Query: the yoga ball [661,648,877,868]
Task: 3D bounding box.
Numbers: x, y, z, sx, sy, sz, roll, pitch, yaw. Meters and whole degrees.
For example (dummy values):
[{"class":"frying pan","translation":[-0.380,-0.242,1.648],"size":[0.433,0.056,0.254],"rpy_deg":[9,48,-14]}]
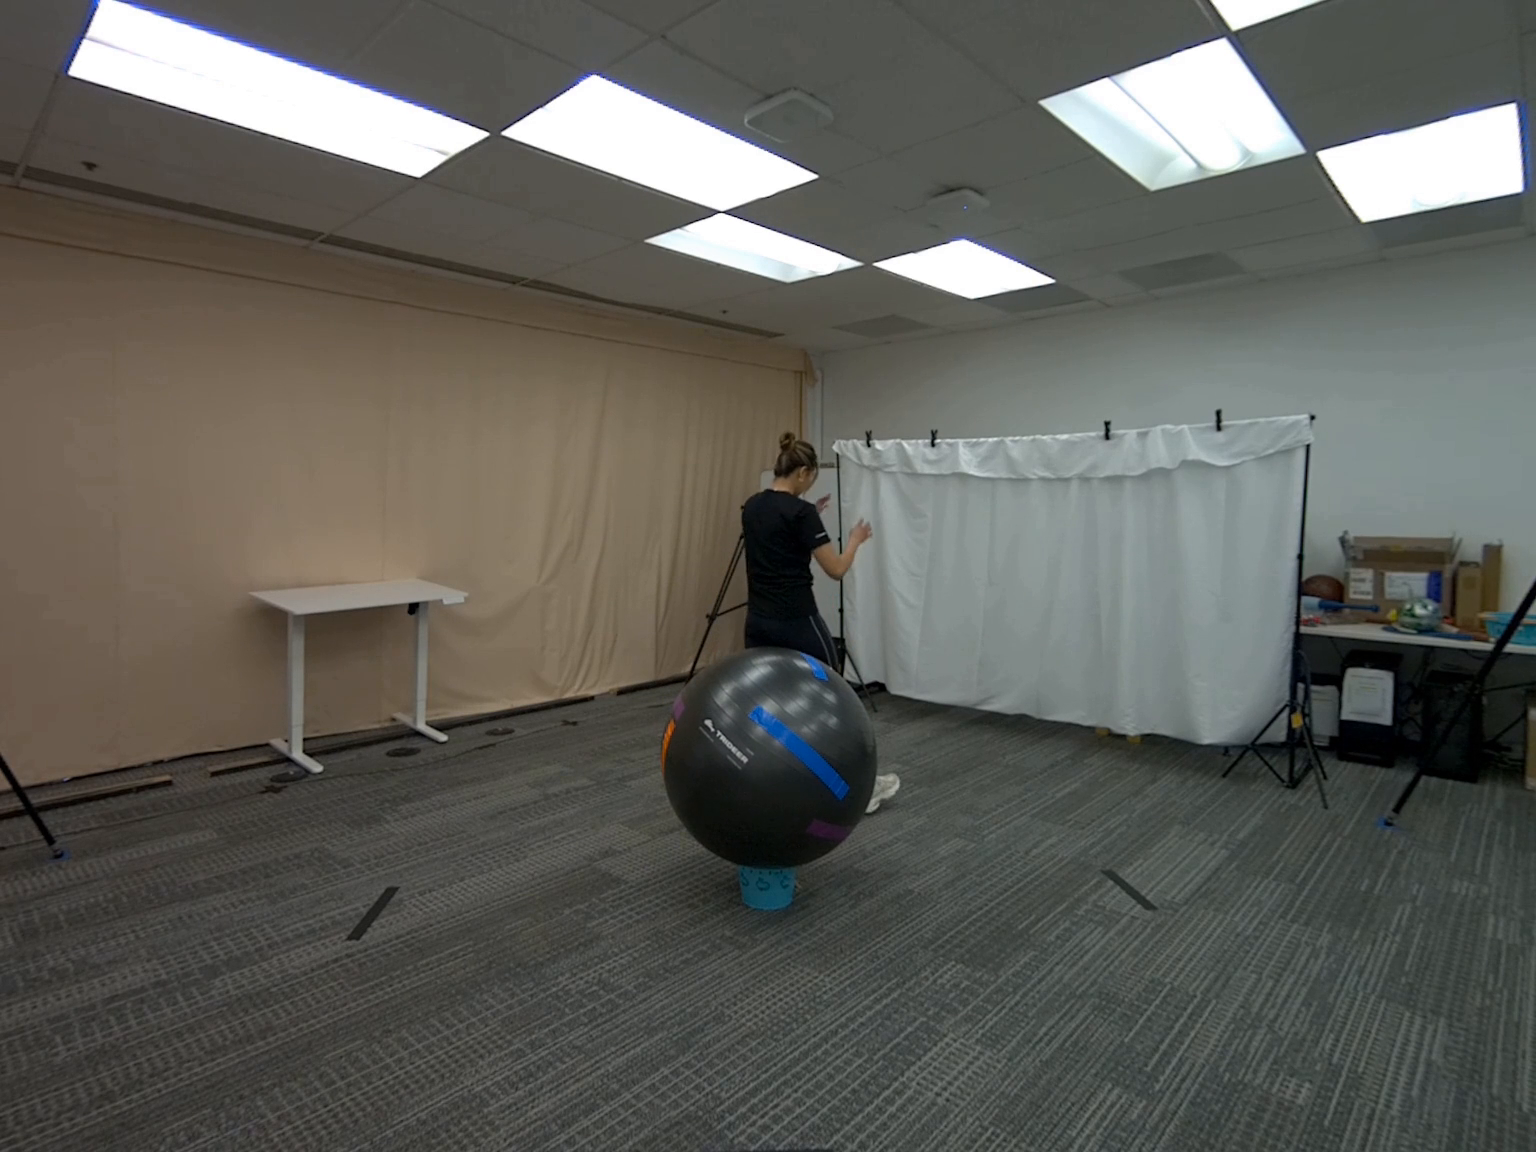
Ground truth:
[{"class":"yoga ball","translation":[0.007,0.634,2.969],"size":[0.757,0.756,0.760],"rpy_deg":[0,4,-2]}]
